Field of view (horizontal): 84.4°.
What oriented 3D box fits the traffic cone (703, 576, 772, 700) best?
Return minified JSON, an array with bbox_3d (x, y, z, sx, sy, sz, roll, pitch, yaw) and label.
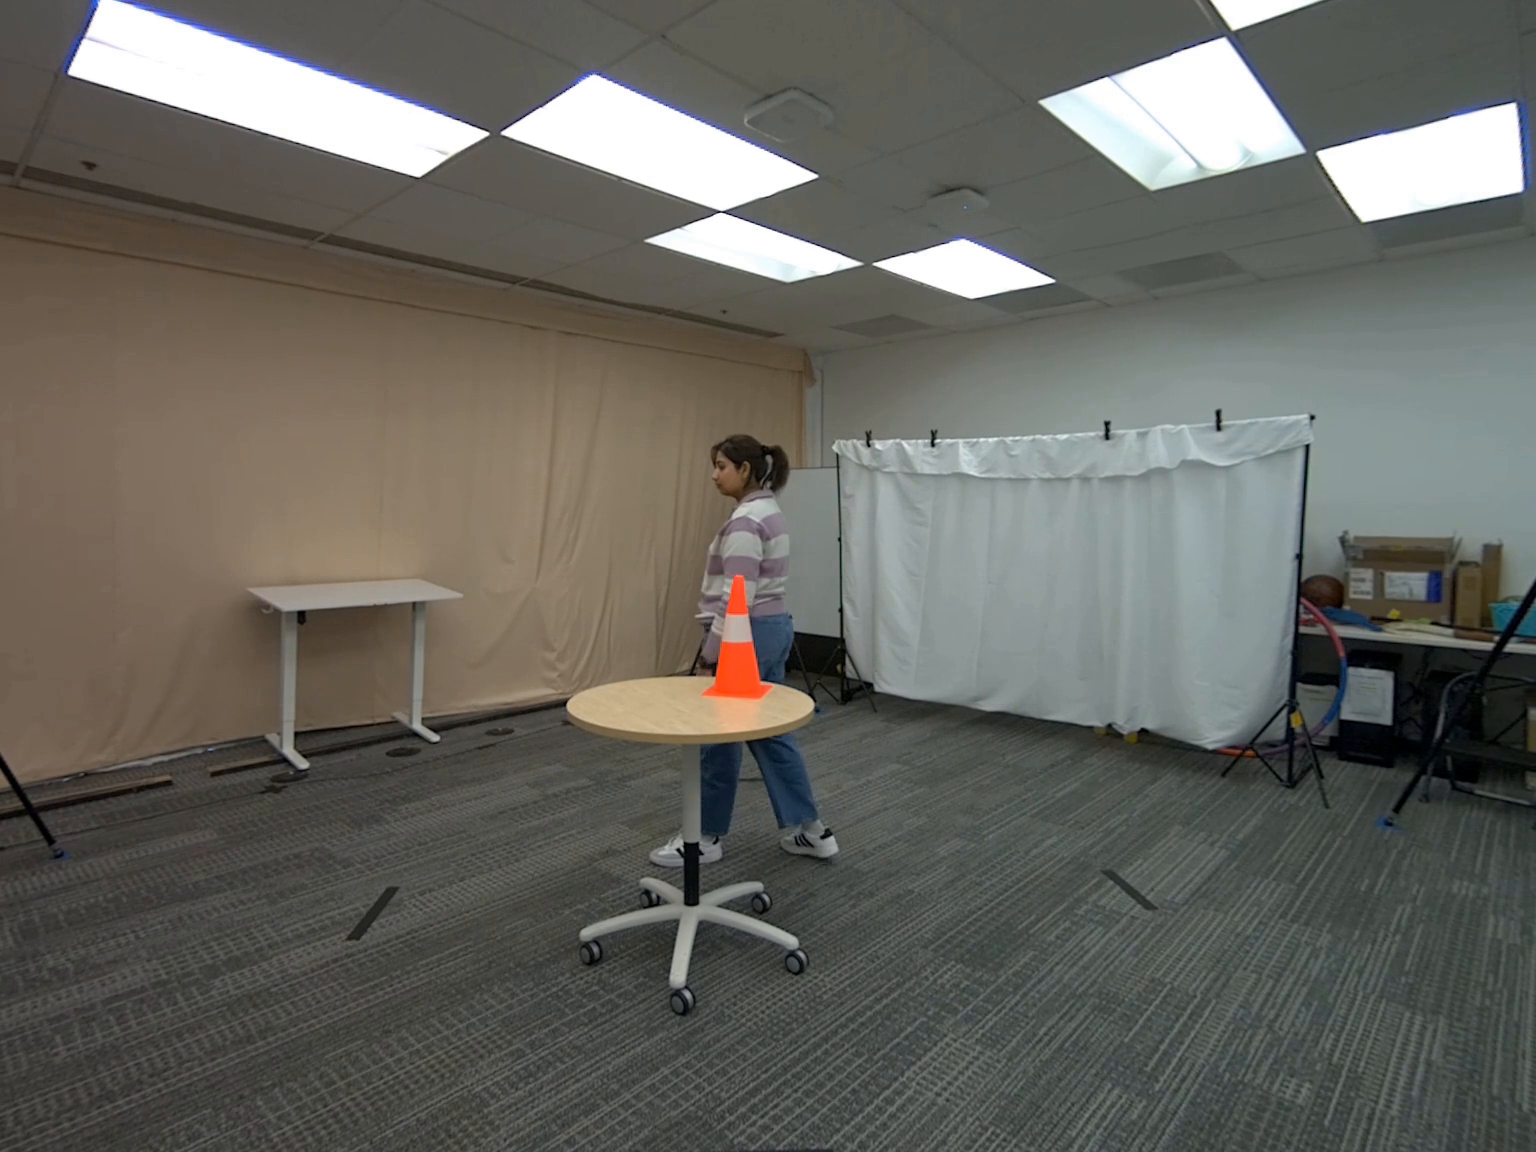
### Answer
[{"bbox_3d":[-0.096,0.191,2.767,0.208,0.383,0.201,1,4,13],"label":"traffic cone"}]
